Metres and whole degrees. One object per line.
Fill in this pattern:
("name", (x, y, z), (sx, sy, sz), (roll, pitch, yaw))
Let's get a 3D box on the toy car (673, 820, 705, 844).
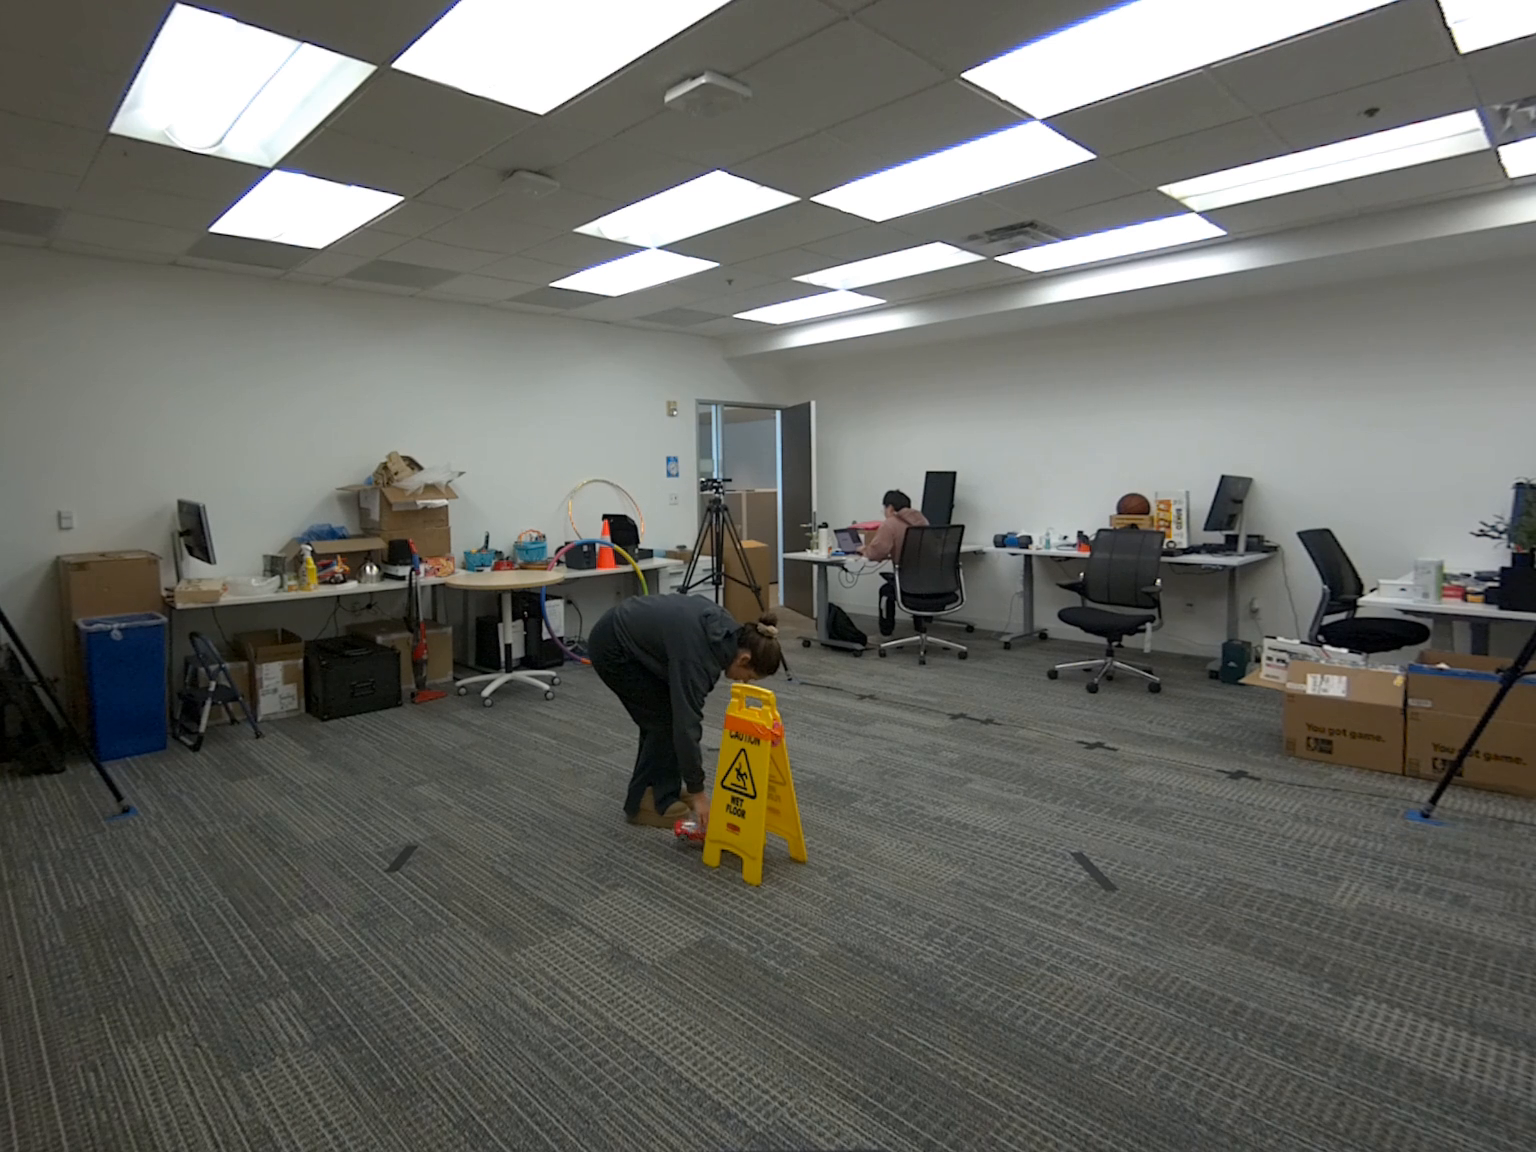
("toy car", (-0.210, 0.981, 3.248), (0.255, 0.083, 0.131), (-3, 6, 1))
